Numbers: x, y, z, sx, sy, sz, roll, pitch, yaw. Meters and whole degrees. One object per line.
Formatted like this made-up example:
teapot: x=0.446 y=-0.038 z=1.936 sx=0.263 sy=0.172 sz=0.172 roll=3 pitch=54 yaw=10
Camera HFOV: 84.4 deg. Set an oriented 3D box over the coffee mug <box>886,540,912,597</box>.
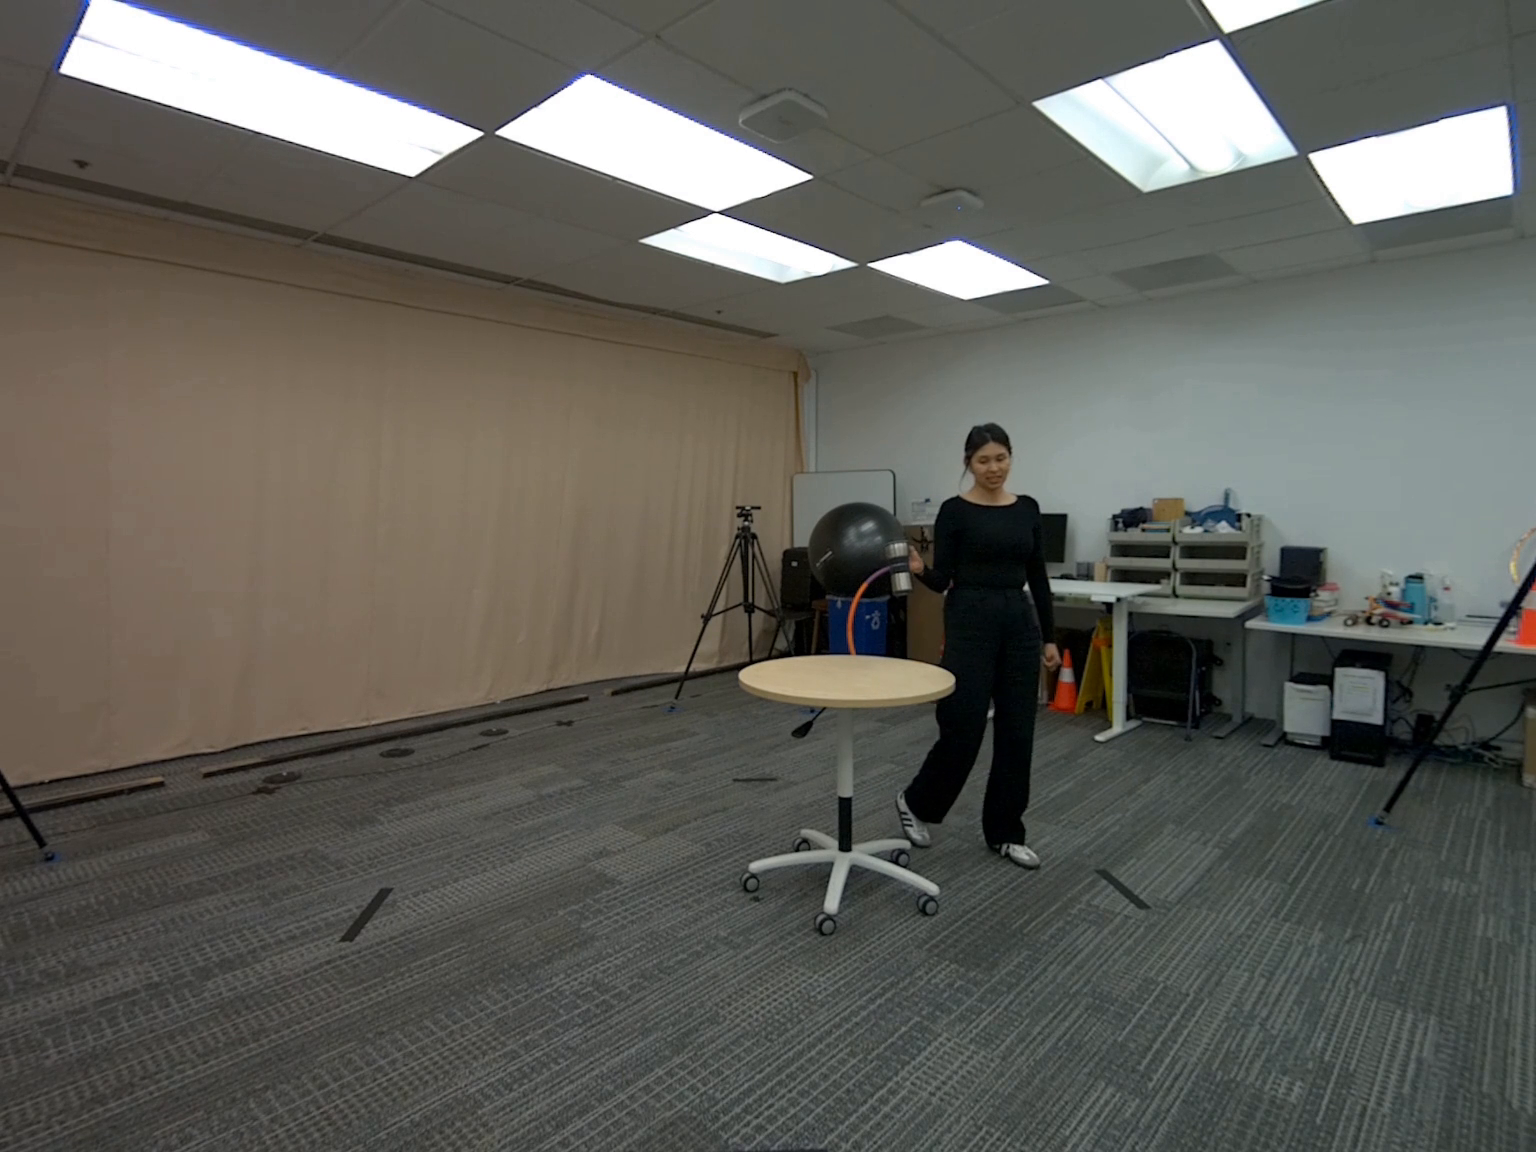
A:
coffee mug: x=0.501 y=-0.033 z=3.052 sx=0.119 sy=0.204 sz=0.089 roll=-7 pitch=-9 yaw=-29
